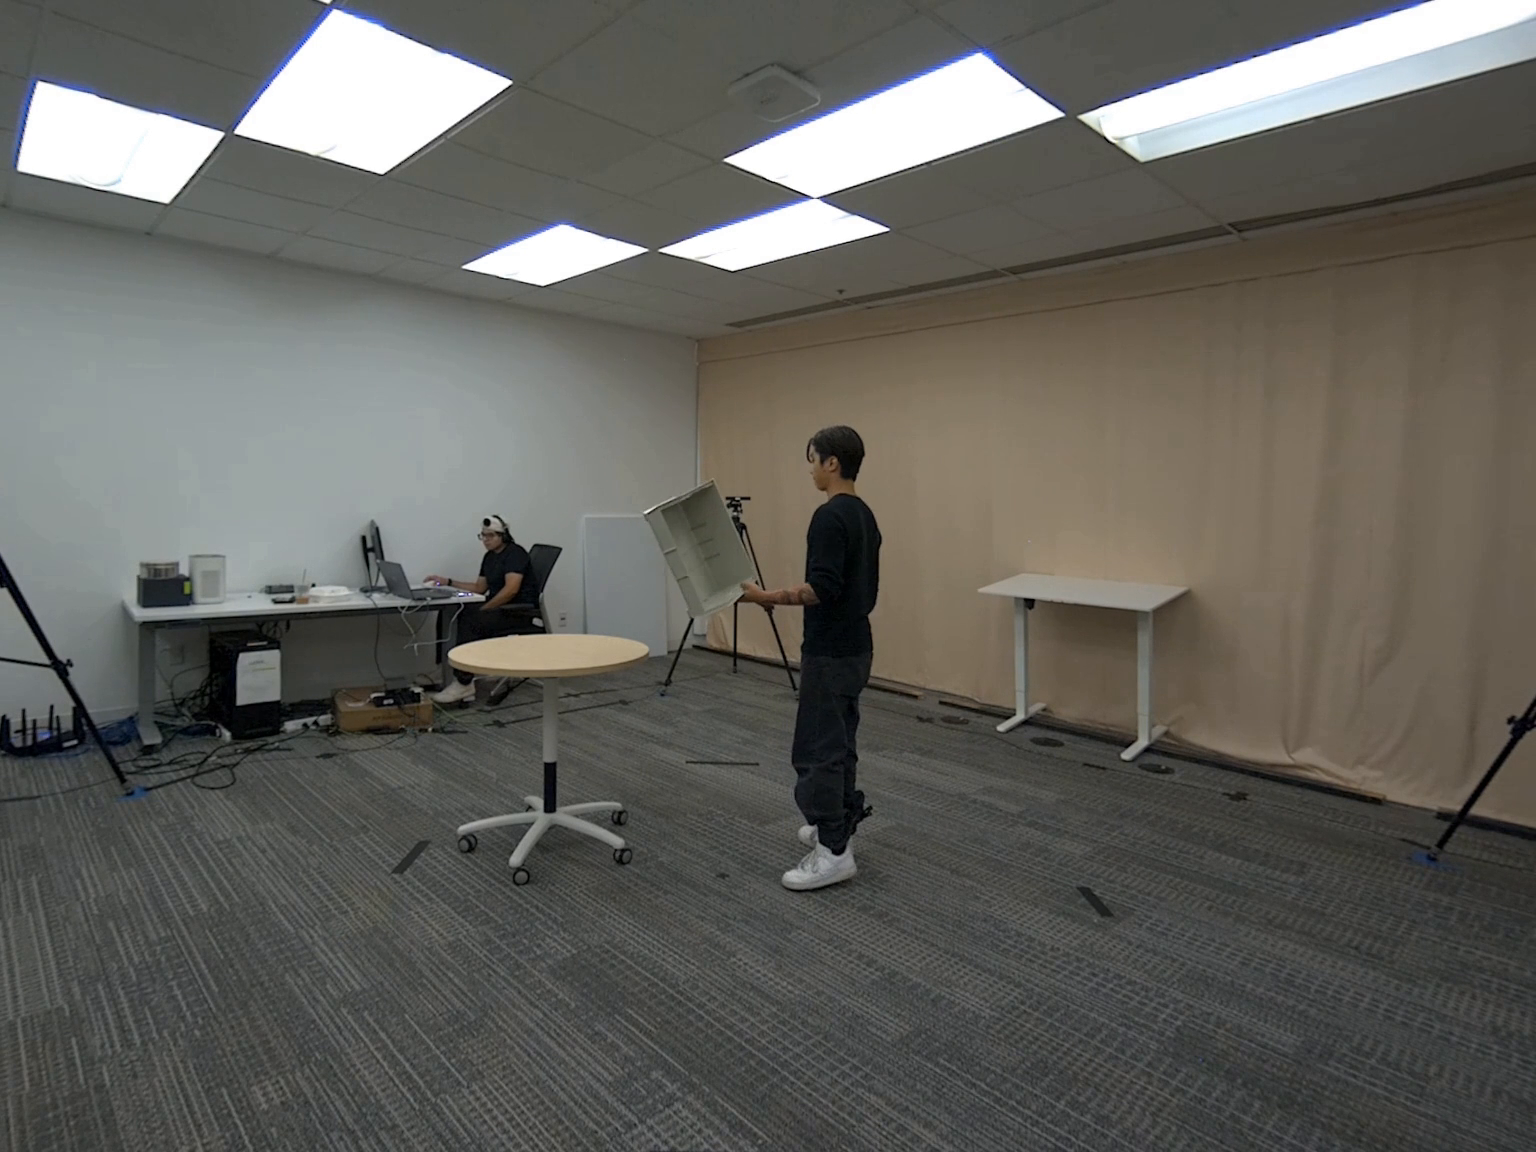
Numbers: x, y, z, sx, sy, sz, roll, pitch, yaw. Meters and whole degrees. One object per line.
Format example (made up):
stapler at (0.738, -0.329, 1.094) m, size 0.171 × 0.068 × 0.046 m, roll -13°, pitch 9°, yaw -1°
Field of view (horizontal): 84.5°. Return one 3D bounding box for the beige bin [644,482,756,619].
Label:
beige bin at (-0.257, -0.099, 3.072) m, size 0.191 × 0.420 × 0.376 m, roll -21°, pitch 7°, yaw 20°
